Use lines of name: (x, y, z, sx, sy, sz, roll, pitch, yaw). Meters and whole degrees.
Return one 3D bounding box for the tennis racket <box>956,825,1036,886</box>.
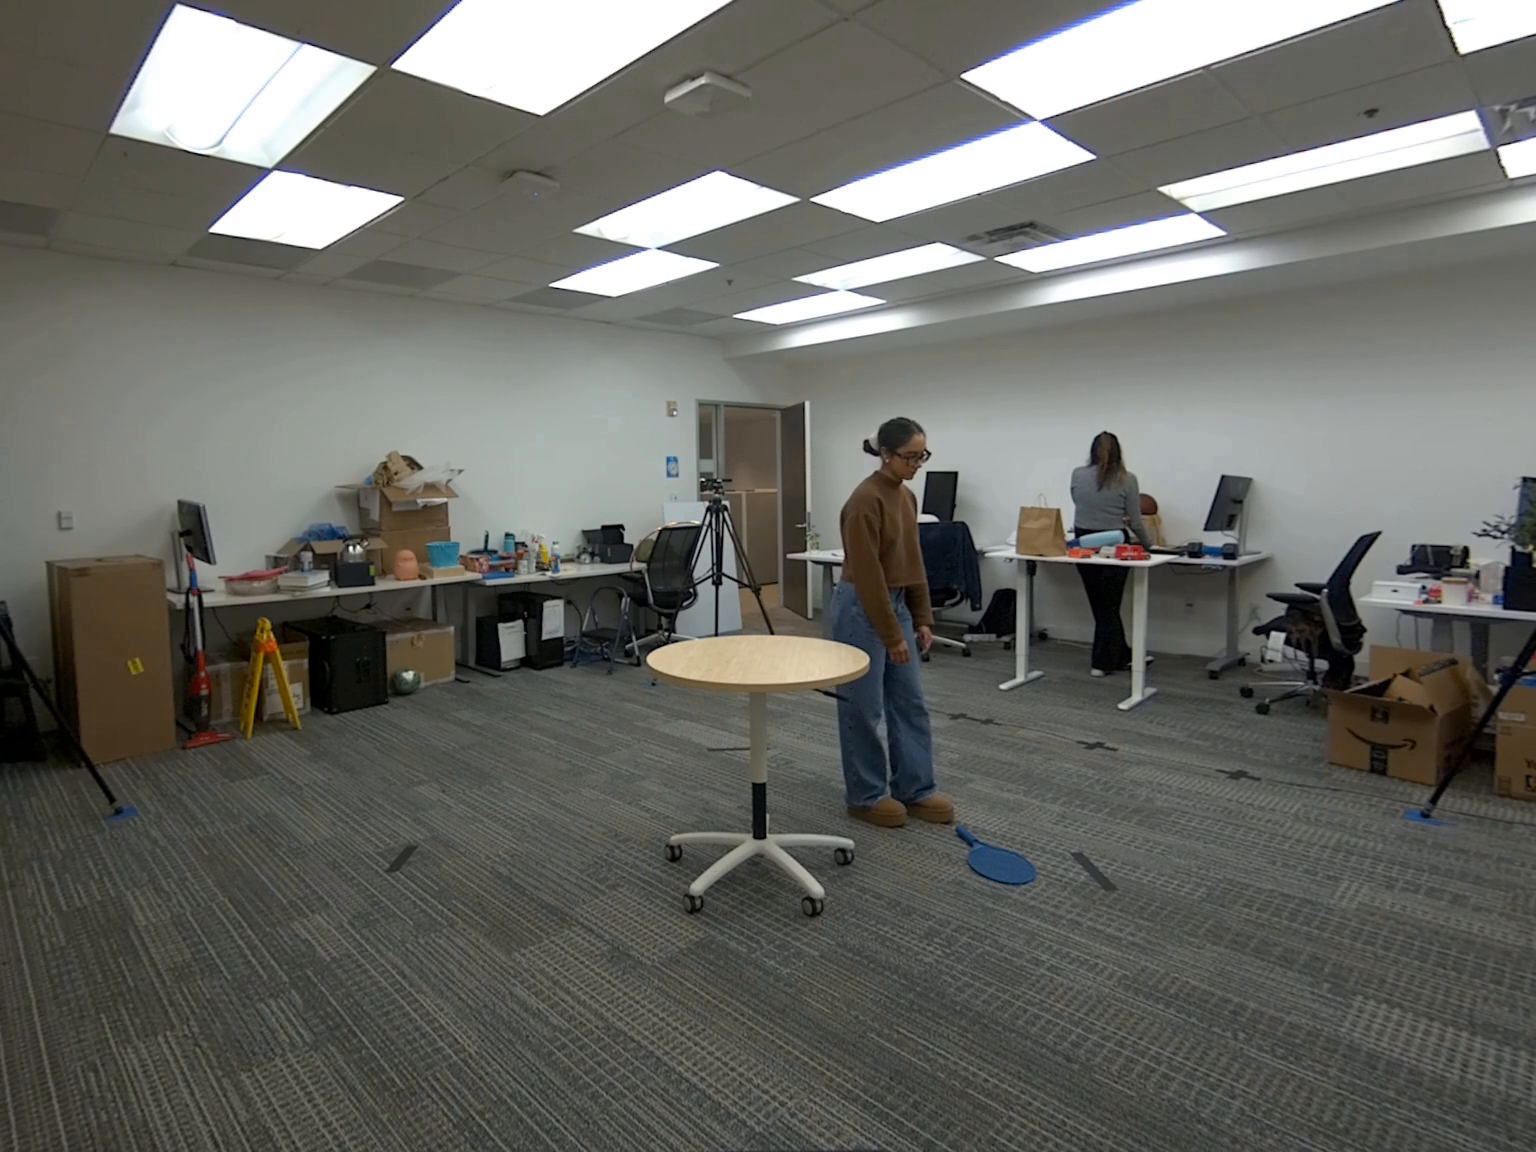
tennis racket: (0.814, 1.017, 3.126, 0.211, 0.031, 0.441, -2, 7, -14)
